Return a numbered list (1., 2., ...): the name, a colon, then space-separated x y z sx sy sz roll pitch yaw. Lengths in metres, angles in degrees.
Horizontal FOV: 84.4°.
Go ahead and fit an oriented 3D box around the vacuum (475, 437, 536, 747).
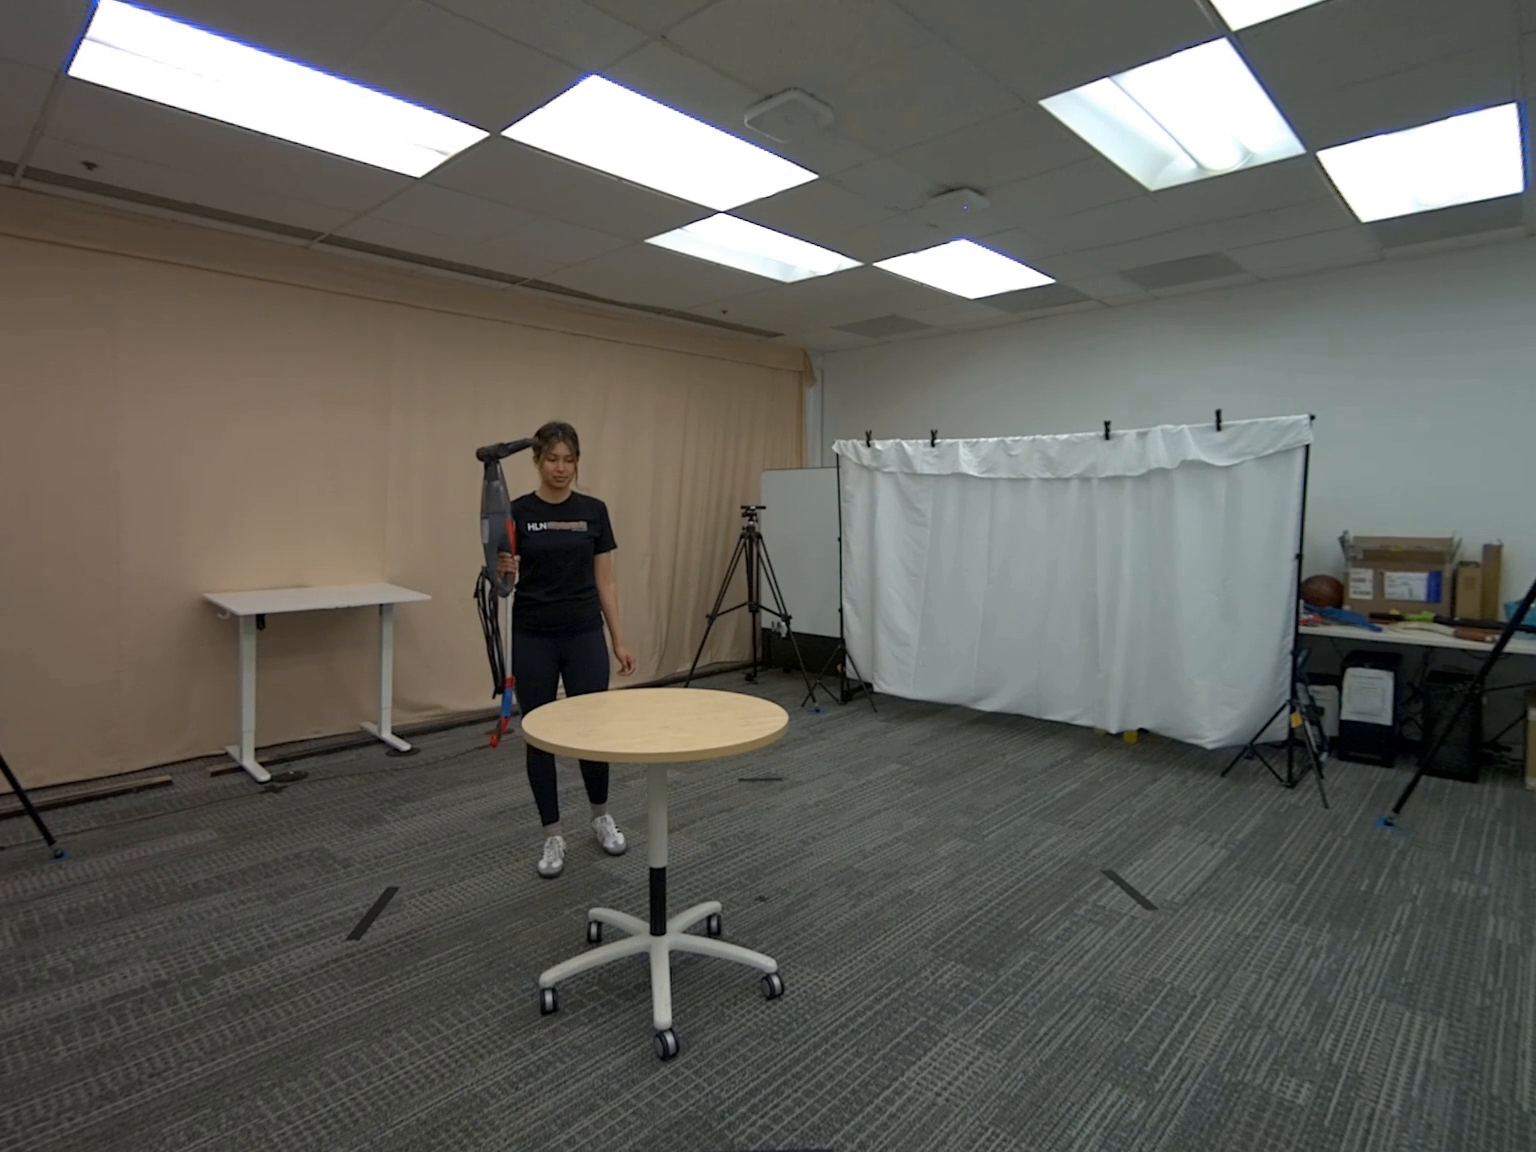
1. vacuum: -0.936 0.060 2.933 0.260 1.053 0.139 -4 -7 43
